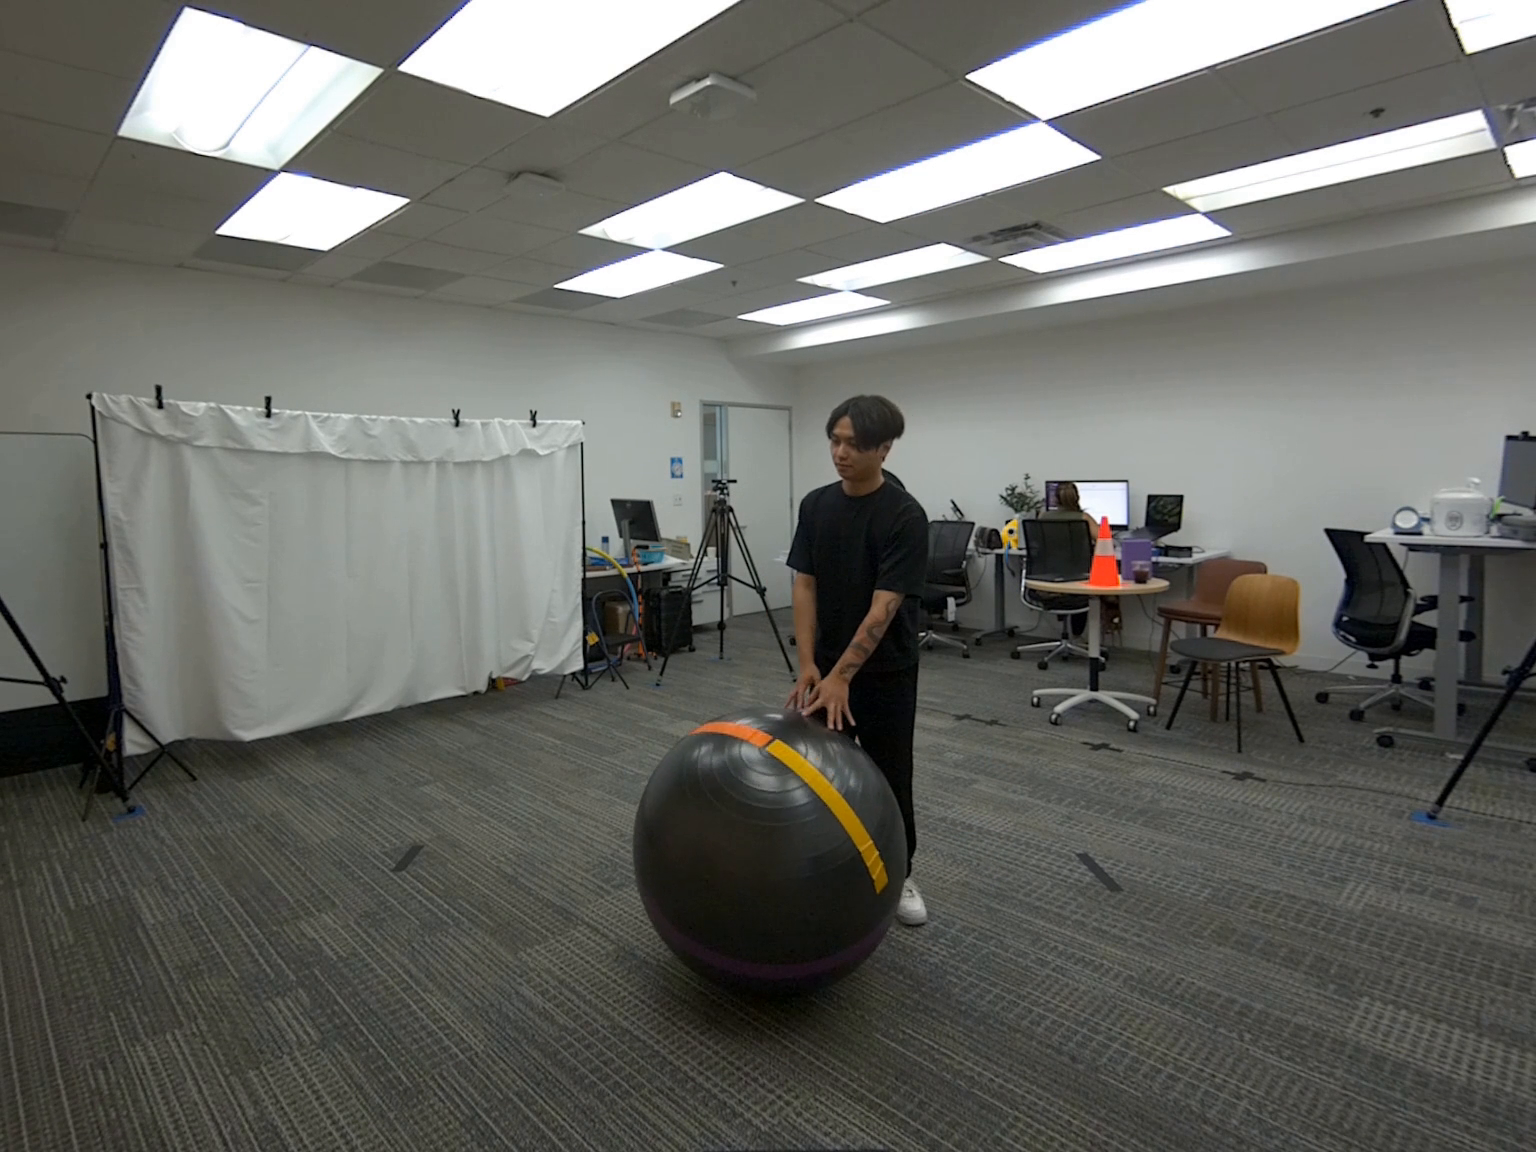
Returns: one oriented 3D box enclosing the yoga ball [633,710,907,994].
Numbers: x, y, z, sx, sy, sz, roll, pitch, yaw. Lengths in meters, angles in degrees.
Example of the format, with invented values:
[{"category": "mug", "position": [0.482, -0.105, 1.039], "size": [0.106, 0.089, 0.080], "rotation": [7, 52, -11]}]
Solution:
[{"category": "yoga ball", "position": [0.008, 0.761, 2.395], "size": [0.757, 0.755, 0.762], "rotation": [-1, 5, -2]}]
